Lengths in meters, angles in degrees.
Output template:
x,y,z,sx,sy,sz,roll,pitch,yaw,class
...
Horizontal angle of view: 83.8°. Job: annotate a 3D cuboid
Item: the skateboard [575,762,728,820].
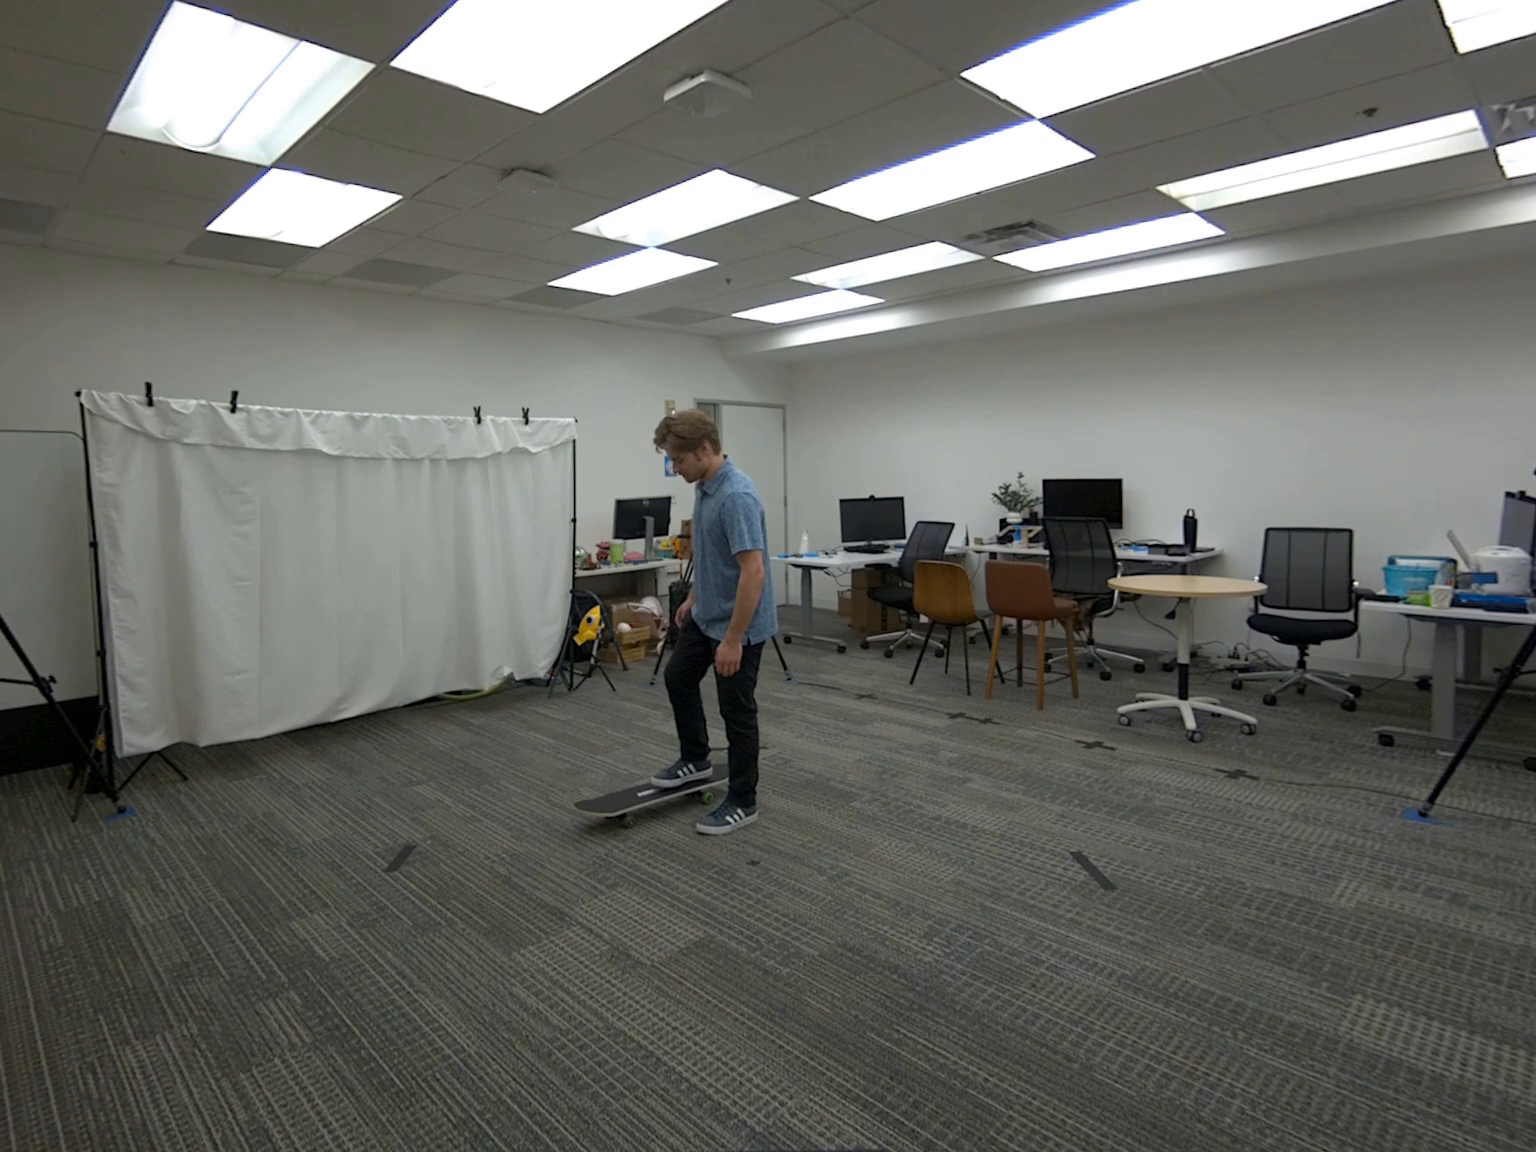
x,y,z,sx,sy,sz,roll,pitch,yaw,class
-0.464,0.937,3.626,0.765,0.110,0.199,-6,7,-39,skateboard
